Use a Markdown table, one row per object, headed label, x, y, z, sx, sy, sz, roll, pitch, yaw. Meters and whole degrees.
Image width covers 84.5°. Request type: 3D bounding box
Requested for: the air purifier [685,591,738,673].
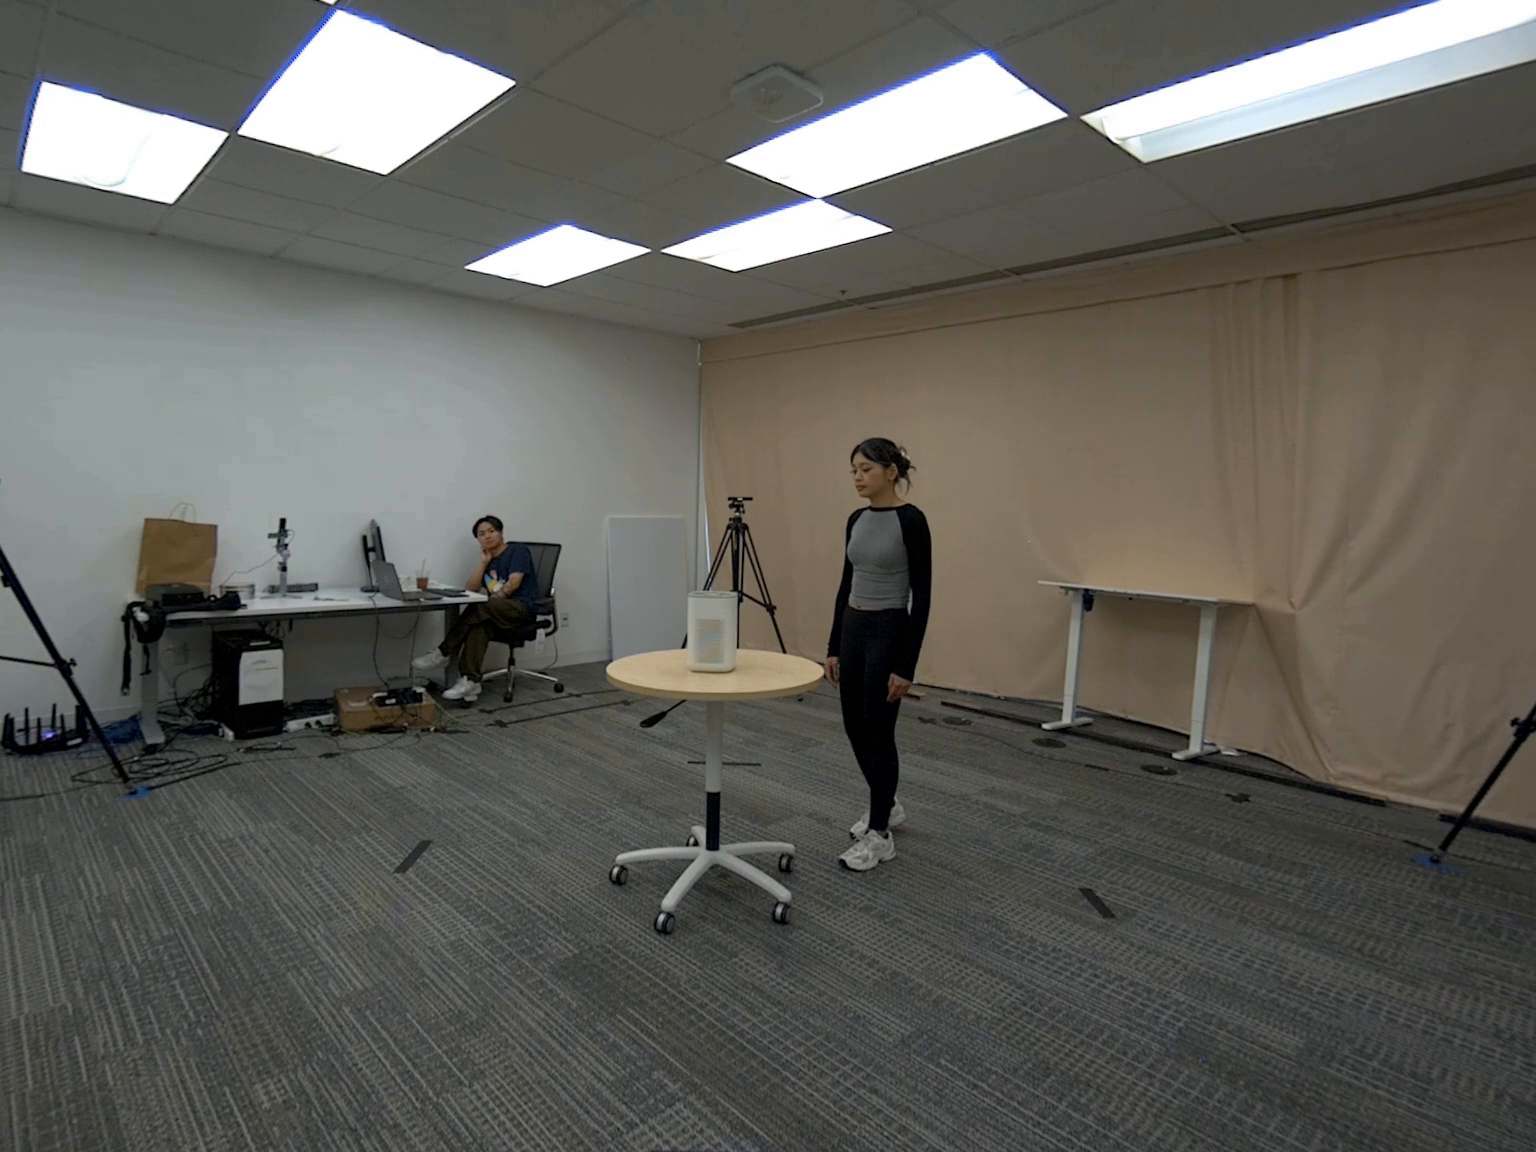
| label | x | y | z | sx | sy | sz | roll | pitch | yaw |
| --- | --- | --- | --- | --- | --- | --- | --- | --- | --- |
| air purifier | -0.202 | 0.196 | 2.942 | 0.171 | 0.264 | 0.172 | 1 | 5 | -1 |
